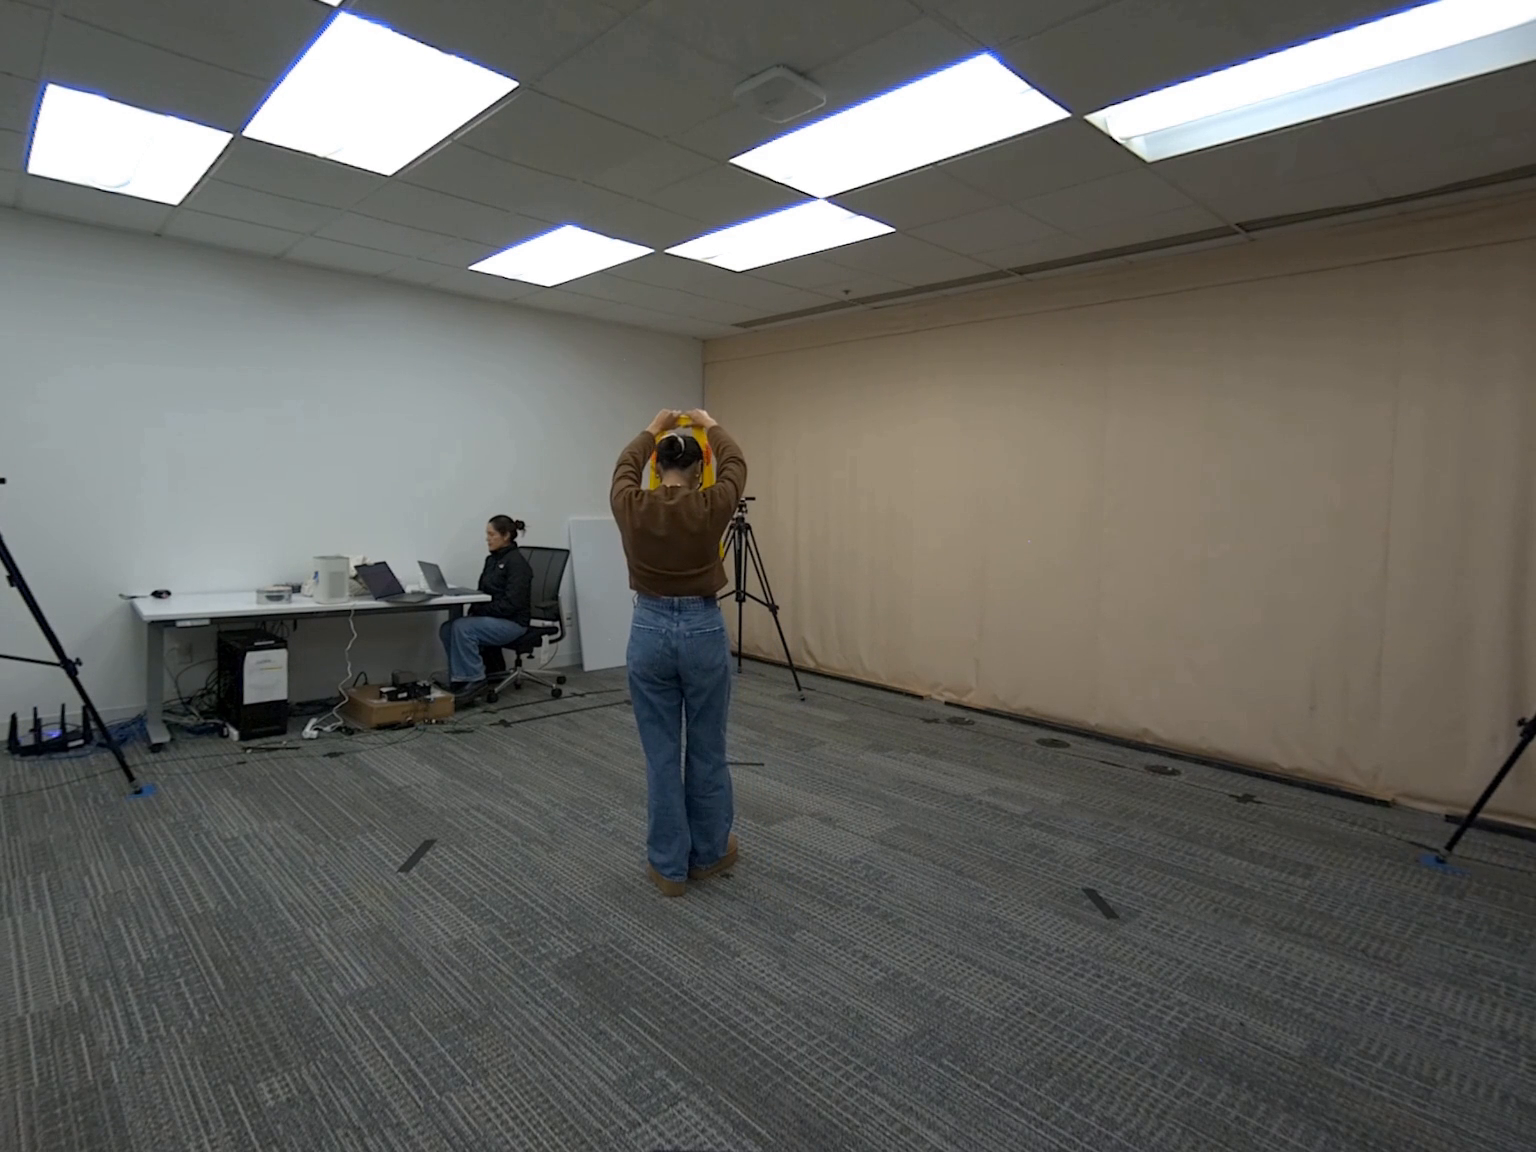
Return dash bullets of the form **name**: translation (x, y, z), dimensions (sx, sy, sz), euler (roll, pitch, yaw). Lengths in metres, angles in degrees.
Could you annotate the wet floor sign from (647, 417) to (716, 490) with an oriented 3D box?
- **wet floor sign**: translation (-0.361, -0.330, 3.443), dimensions (0.285, 0.637, 0.291), euler (8, 22, 9)
